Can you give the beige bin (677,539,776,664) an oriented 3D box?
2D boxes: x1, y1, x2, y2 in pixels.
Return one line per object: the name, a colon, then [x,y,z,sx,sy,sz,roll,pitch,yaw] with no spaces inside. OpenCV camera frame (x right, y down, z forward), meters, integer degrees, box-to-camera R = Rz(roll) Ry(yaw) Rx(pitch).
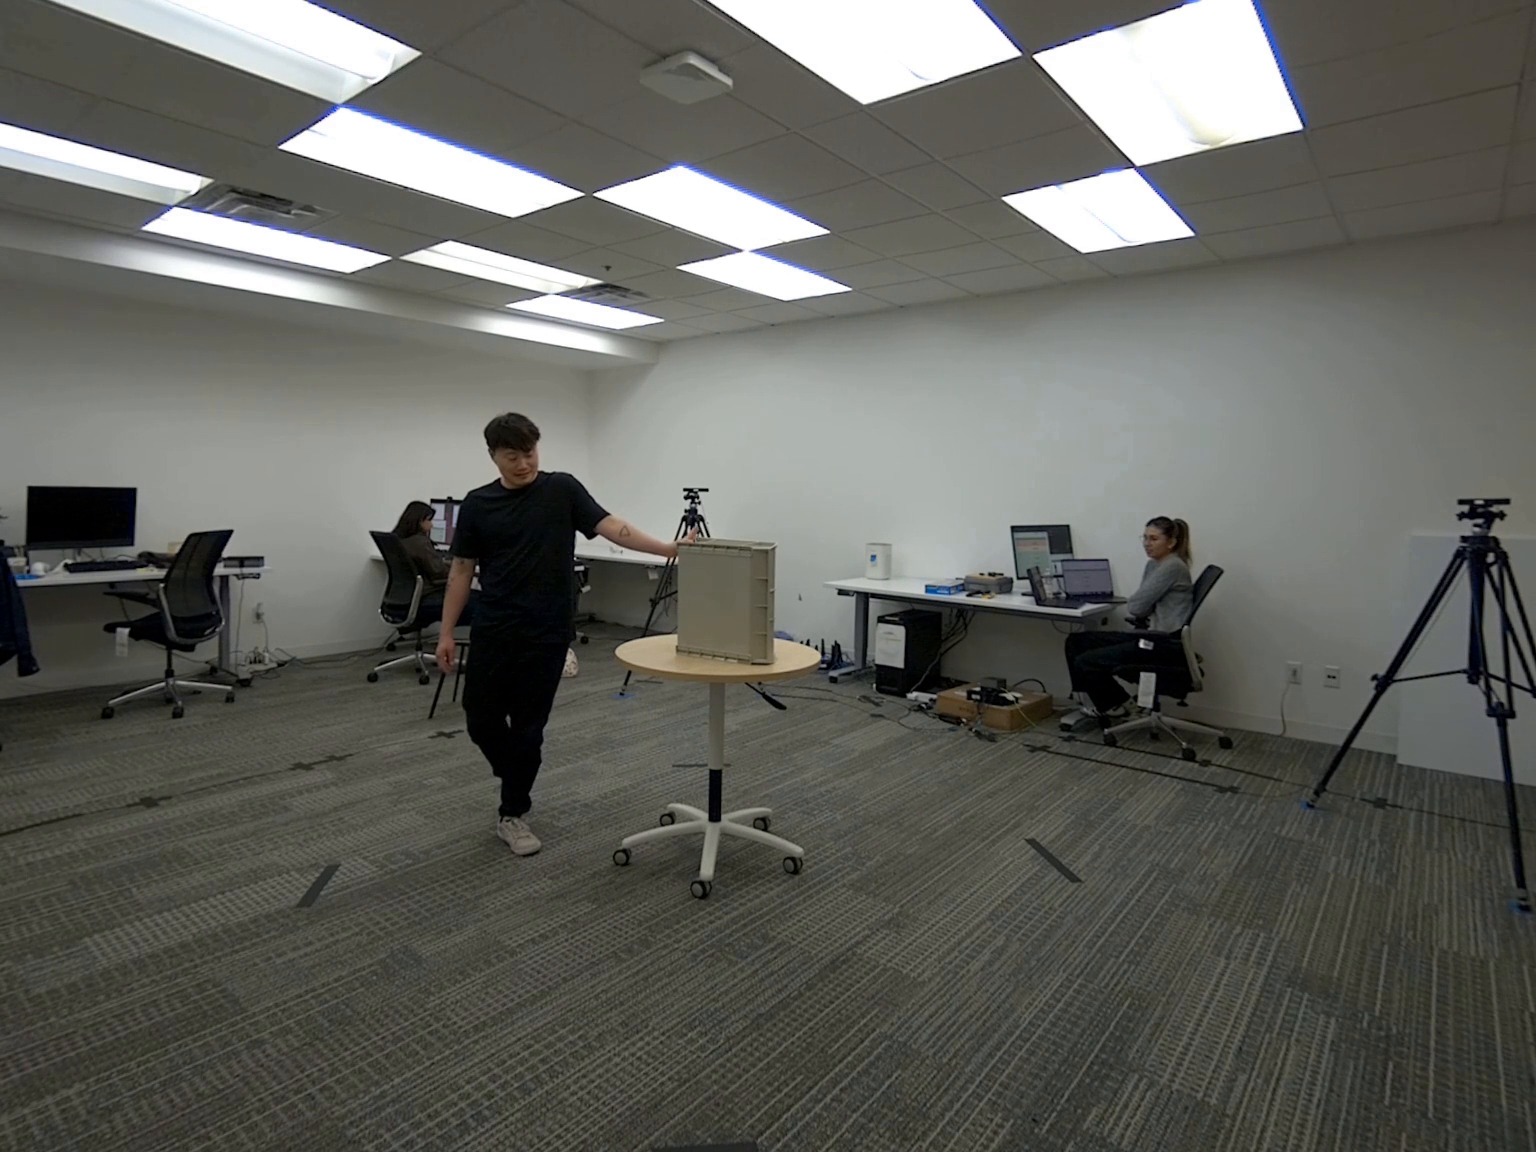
beige bin: [-0.151,0.083,3.086,0.388,0.420,0.185,4,7,28]
